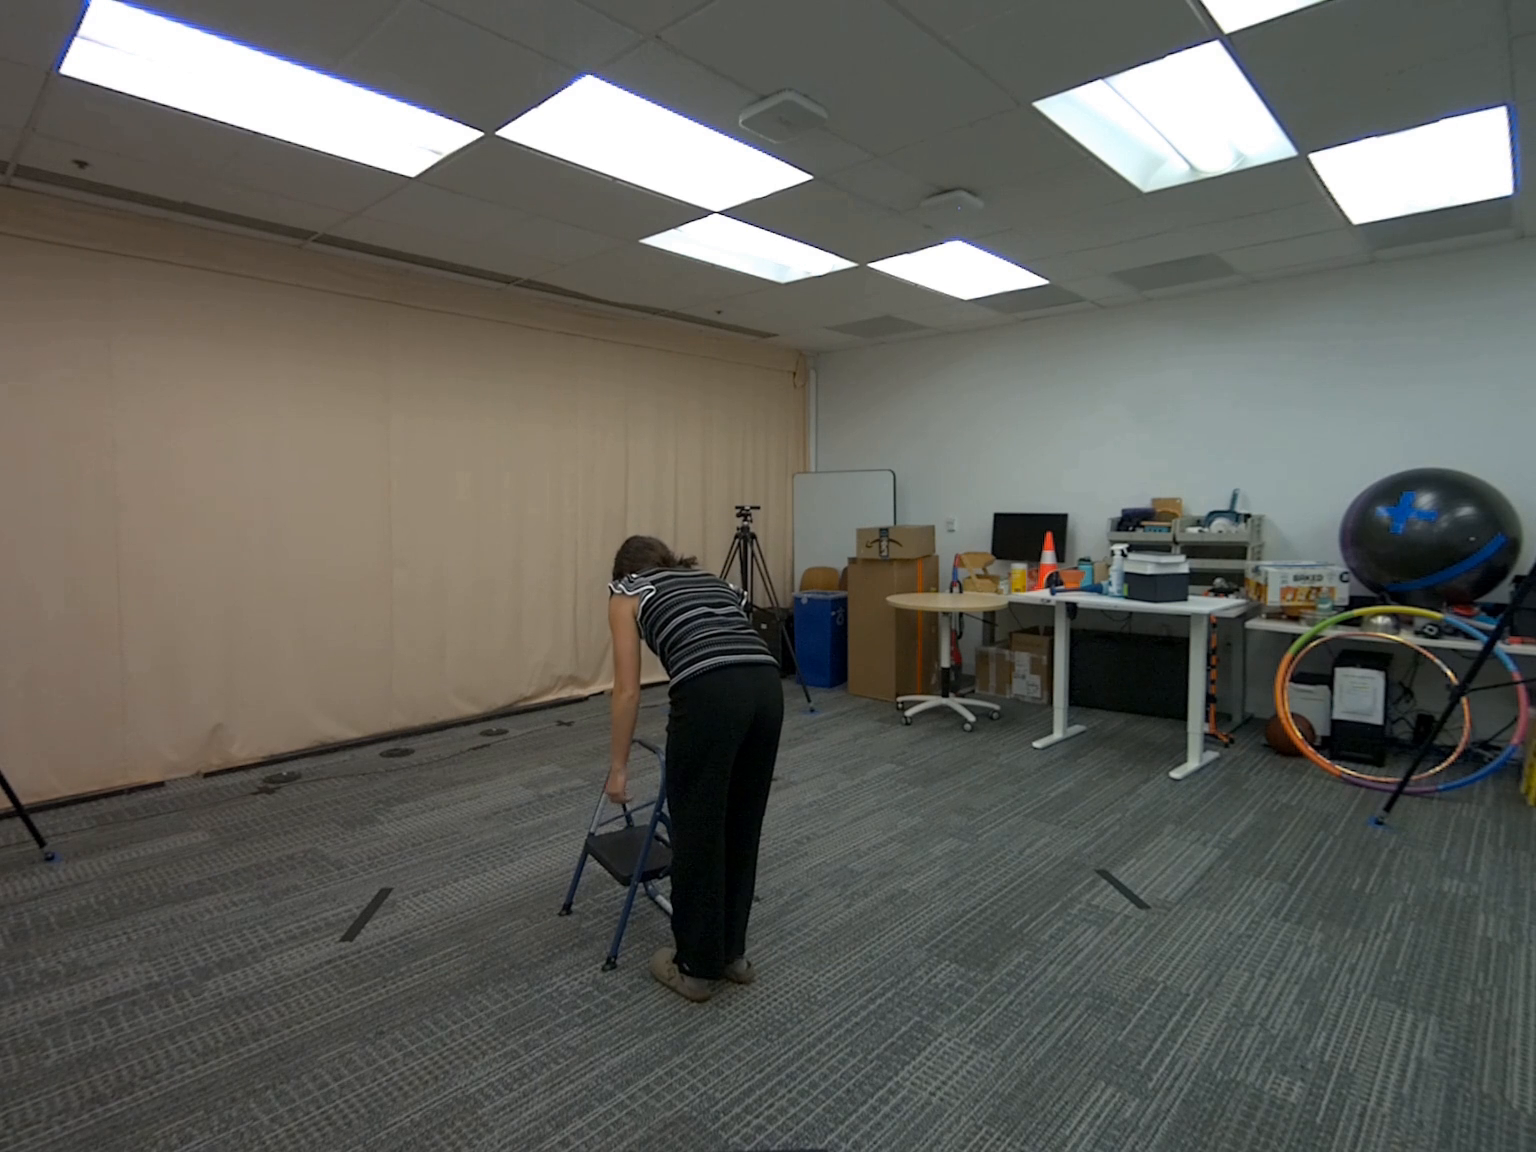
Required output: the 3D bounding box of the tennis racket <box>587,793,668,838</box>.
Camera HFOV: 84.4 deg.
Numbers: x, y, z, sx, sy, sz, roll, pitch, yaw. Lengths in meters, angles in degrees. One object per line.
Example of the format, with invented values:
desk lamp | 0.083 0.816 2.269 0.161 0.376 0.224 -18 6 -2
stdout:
tennis racket | -0.364 0.746 2.791 0.435 0.032 0.210 -25 -11 7
